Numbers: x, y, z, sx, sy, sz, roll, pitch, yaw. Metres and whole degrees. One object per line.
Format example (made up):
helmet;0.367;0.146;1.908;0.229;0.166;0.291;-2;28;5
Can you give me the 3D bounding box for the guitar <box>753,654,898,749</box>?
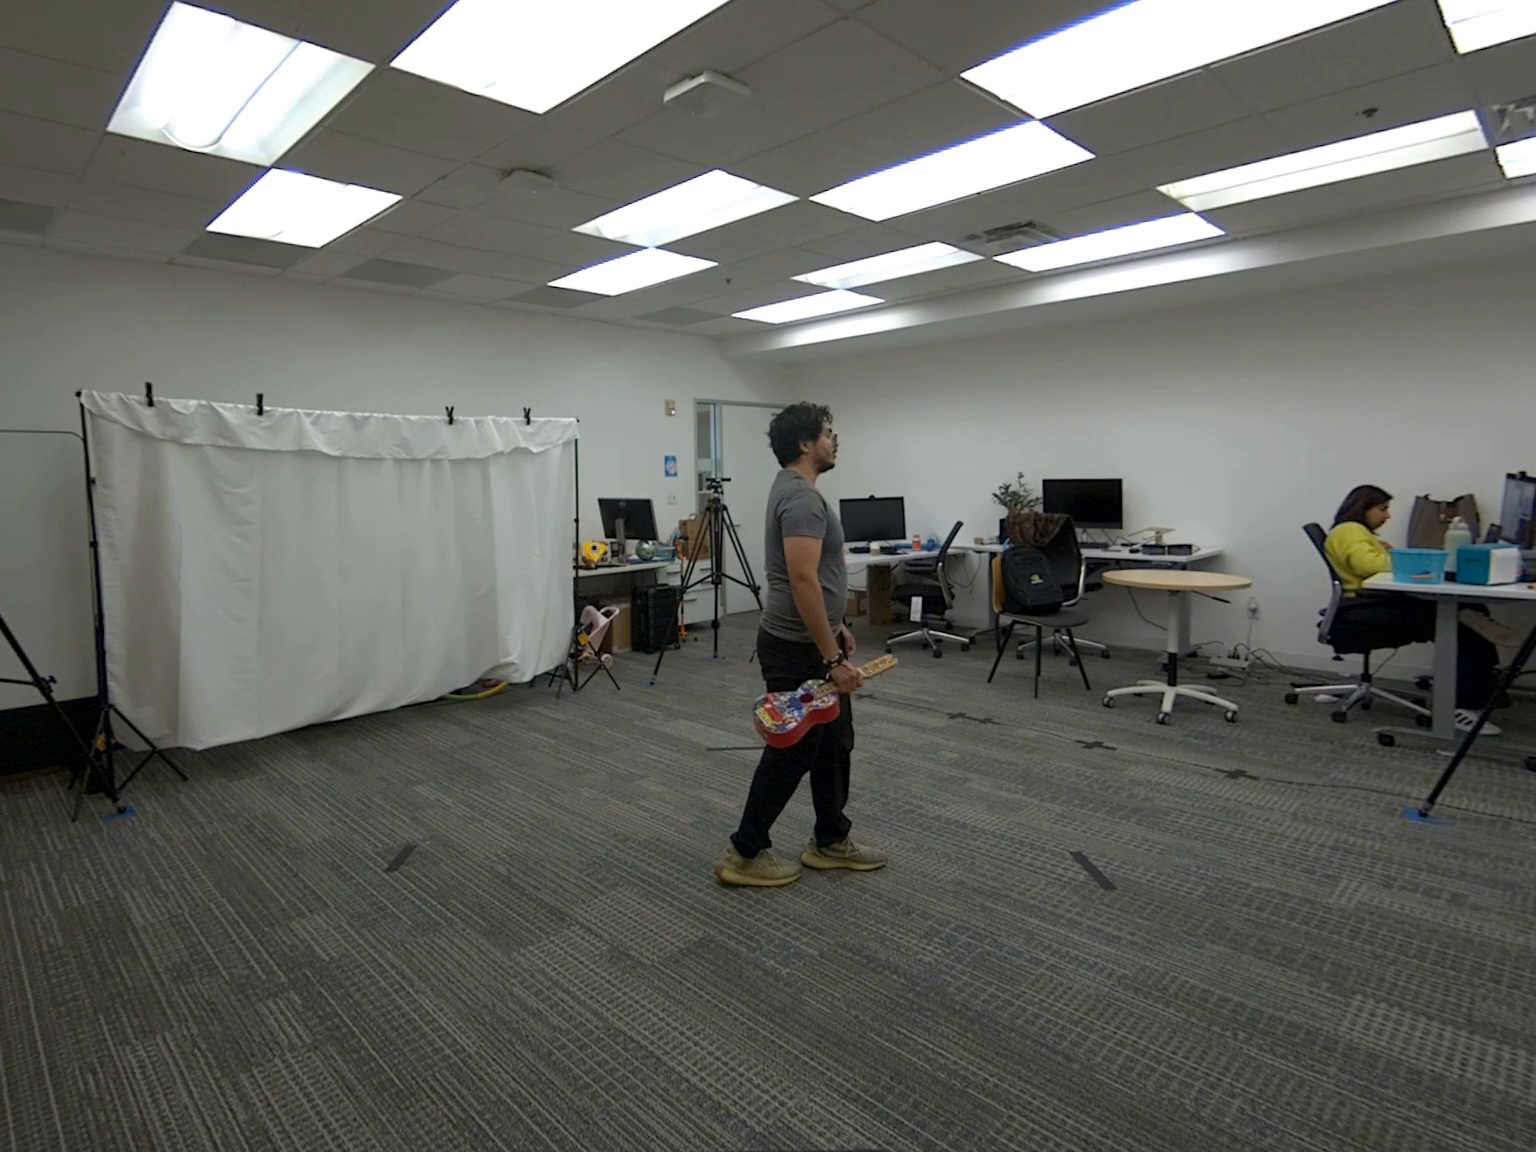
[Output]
guitar;0.210;0.392;2.666;0.495;0.069;0.200;-18;32;-7
